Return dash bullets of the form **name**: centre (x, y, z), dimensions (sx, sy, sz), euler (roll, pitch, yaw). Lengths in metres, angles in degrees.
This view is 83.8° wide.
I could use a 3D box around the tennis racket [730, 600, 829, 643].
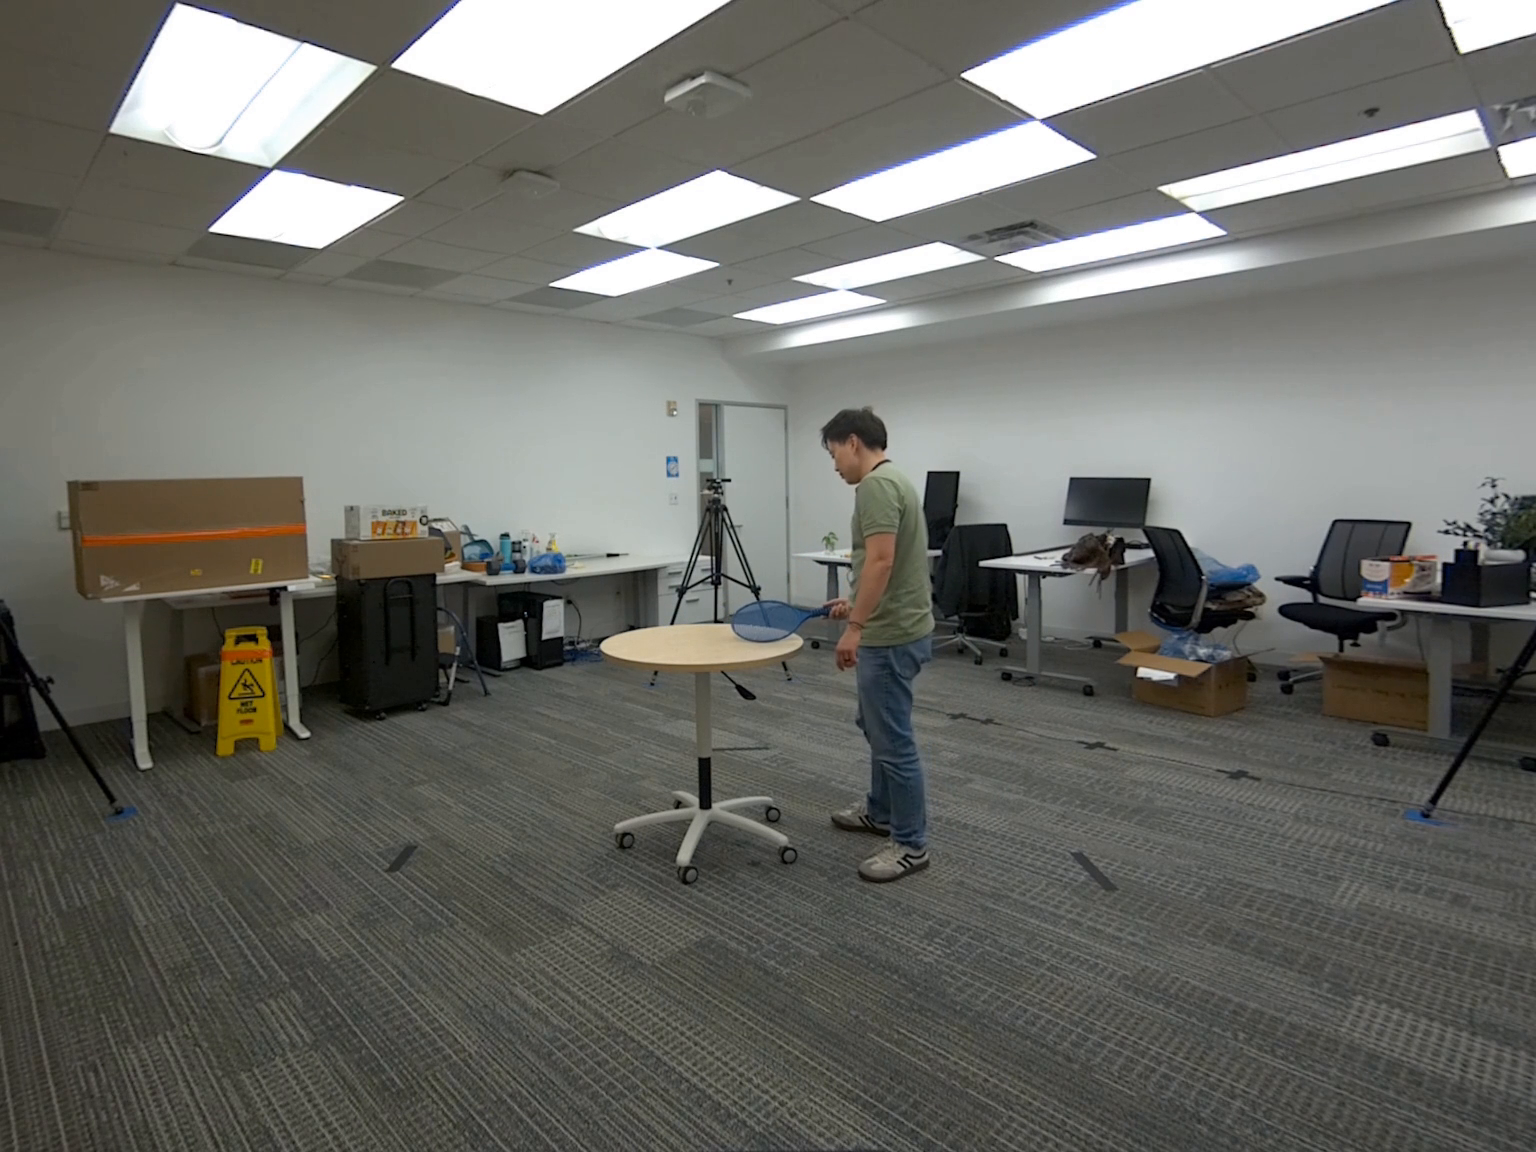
- **tennis racket**: centre (0.085, 0.165, 3.276), dimensions (0.431, 0.031, 0.221), euler (-9, 40, -5)
